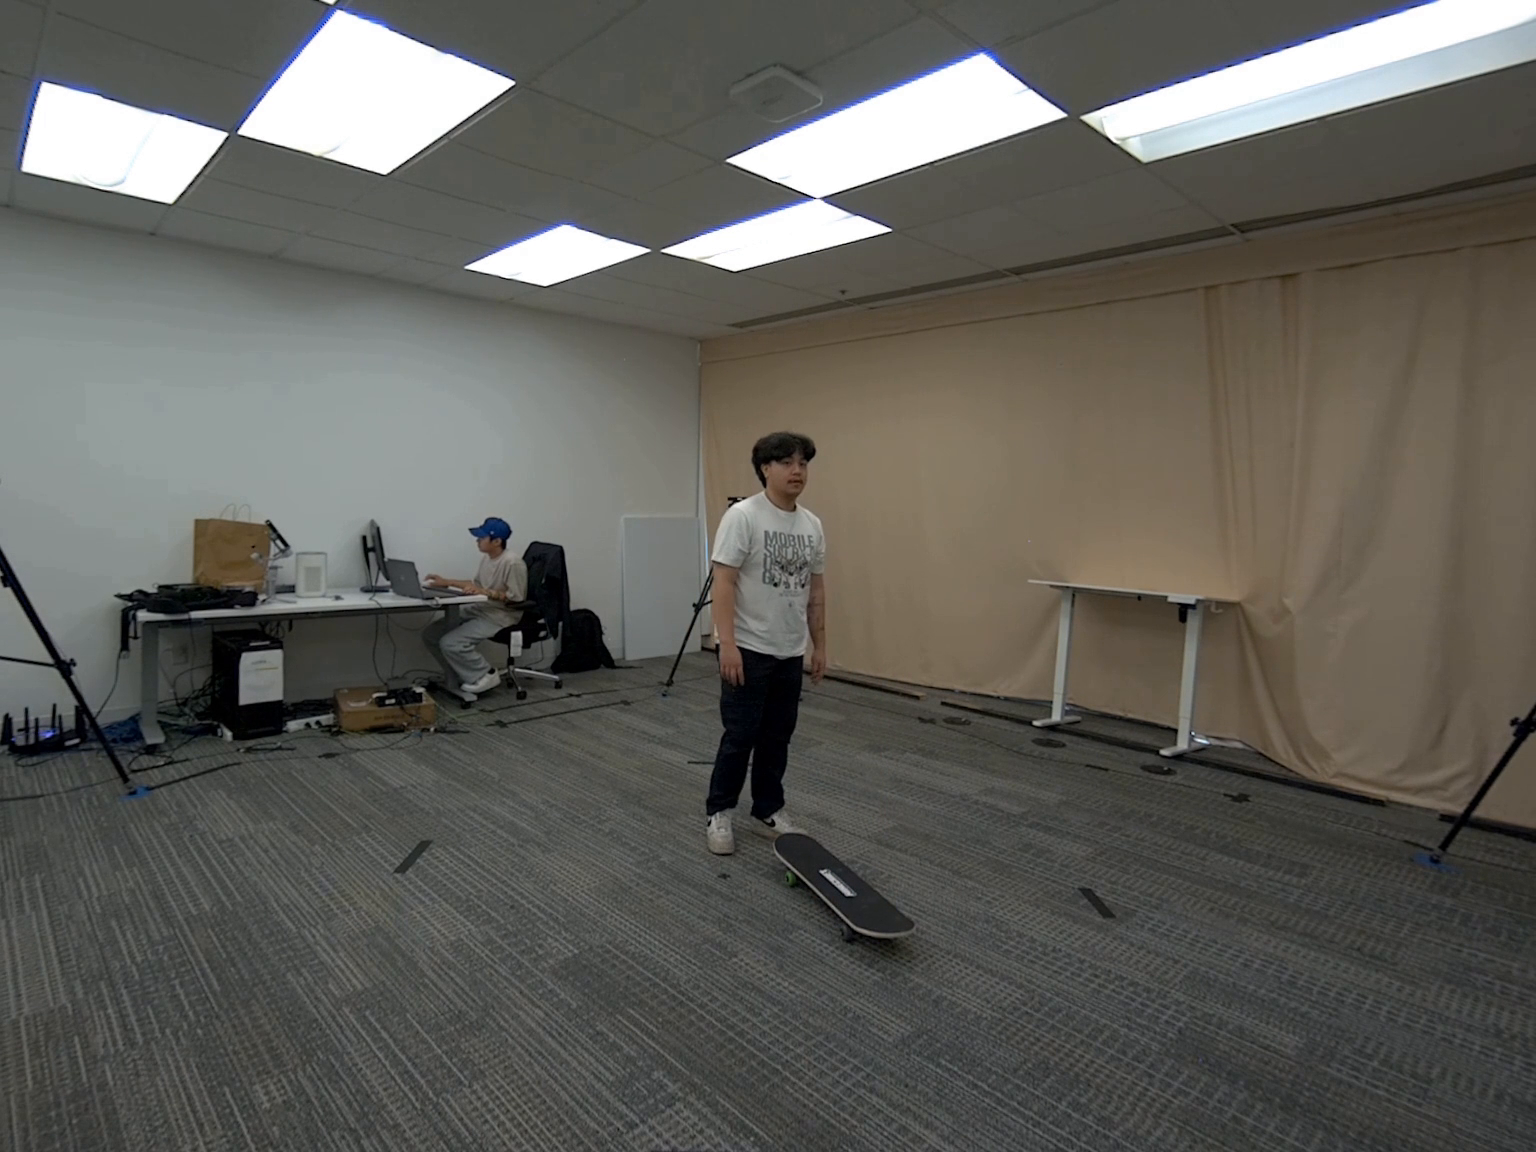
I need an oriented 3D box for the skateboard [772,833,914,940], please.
[{"bbox_3d":[0.226,1.082,2.883,0.190,0.110,0.801,-1,6,-24],"label":"skateboard"}]
